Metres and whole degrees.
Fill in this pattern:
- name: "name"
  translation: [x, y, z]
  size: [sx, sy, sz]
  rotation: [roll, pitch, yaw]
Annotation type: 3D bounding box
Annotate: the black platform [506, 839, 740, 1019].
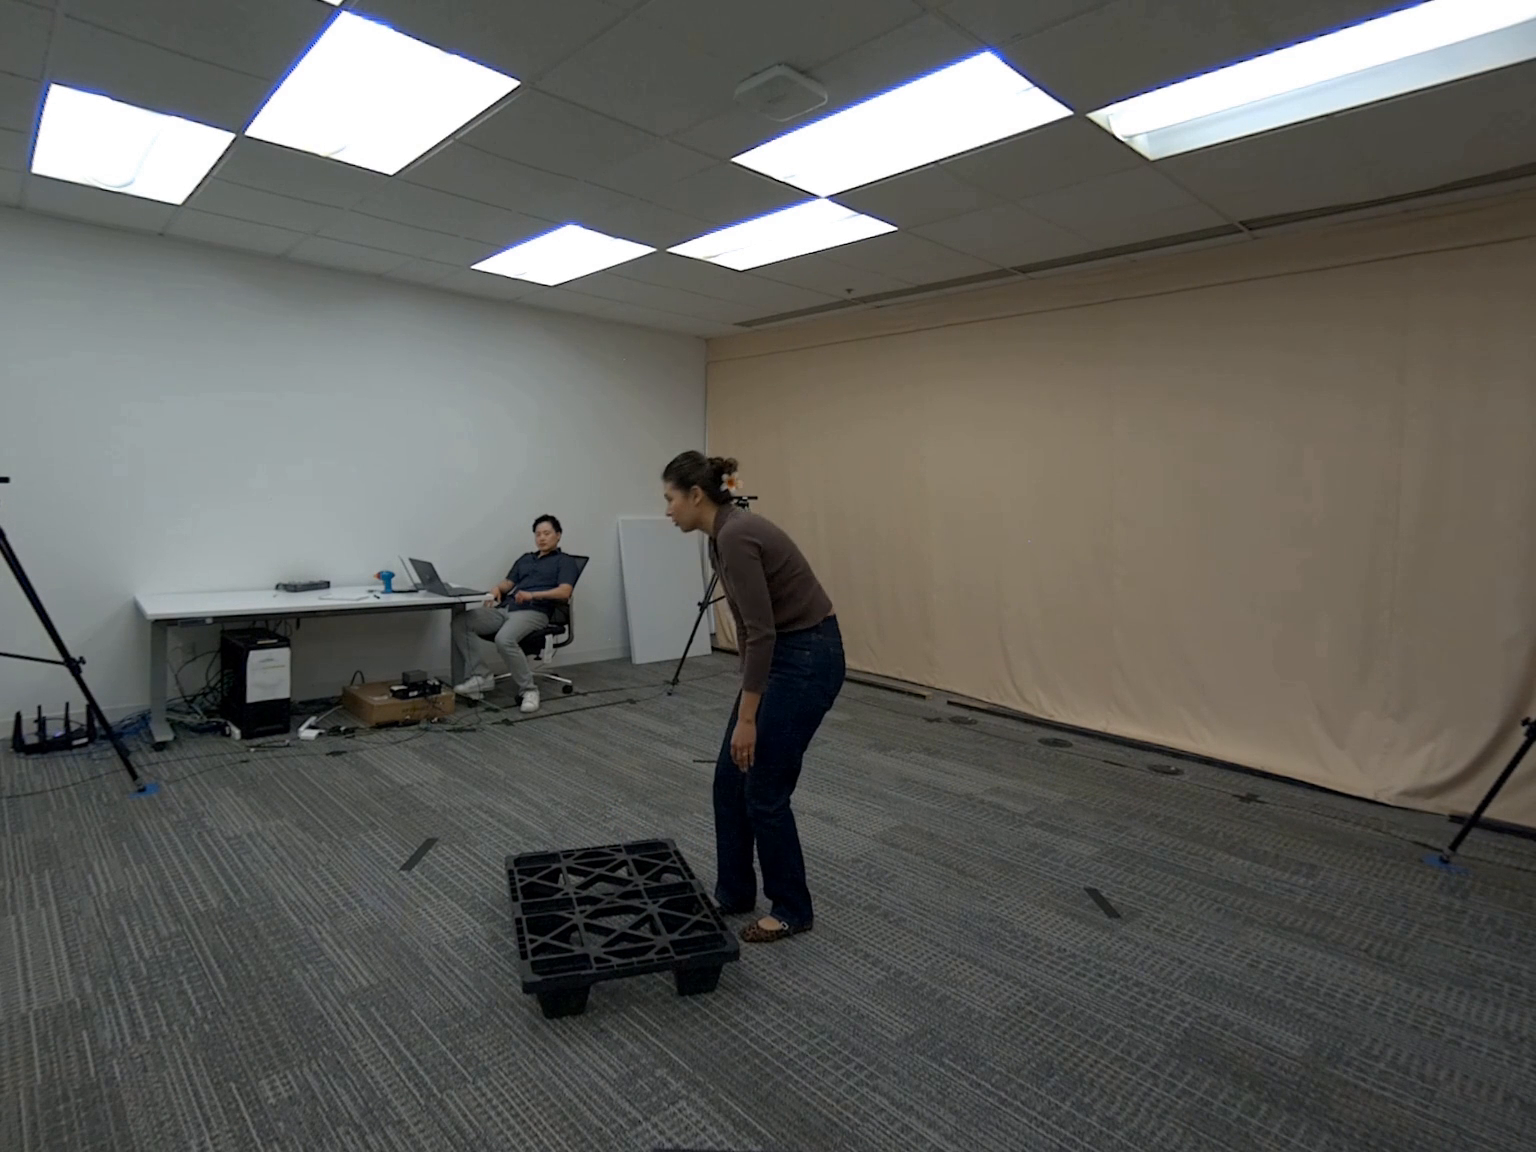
- name: "black platform"
  translation: [-0.503, 1.073, 2.629]
  size: [0.596, 0.143, 0.820]
  rotation: [-2, 6, -20]
